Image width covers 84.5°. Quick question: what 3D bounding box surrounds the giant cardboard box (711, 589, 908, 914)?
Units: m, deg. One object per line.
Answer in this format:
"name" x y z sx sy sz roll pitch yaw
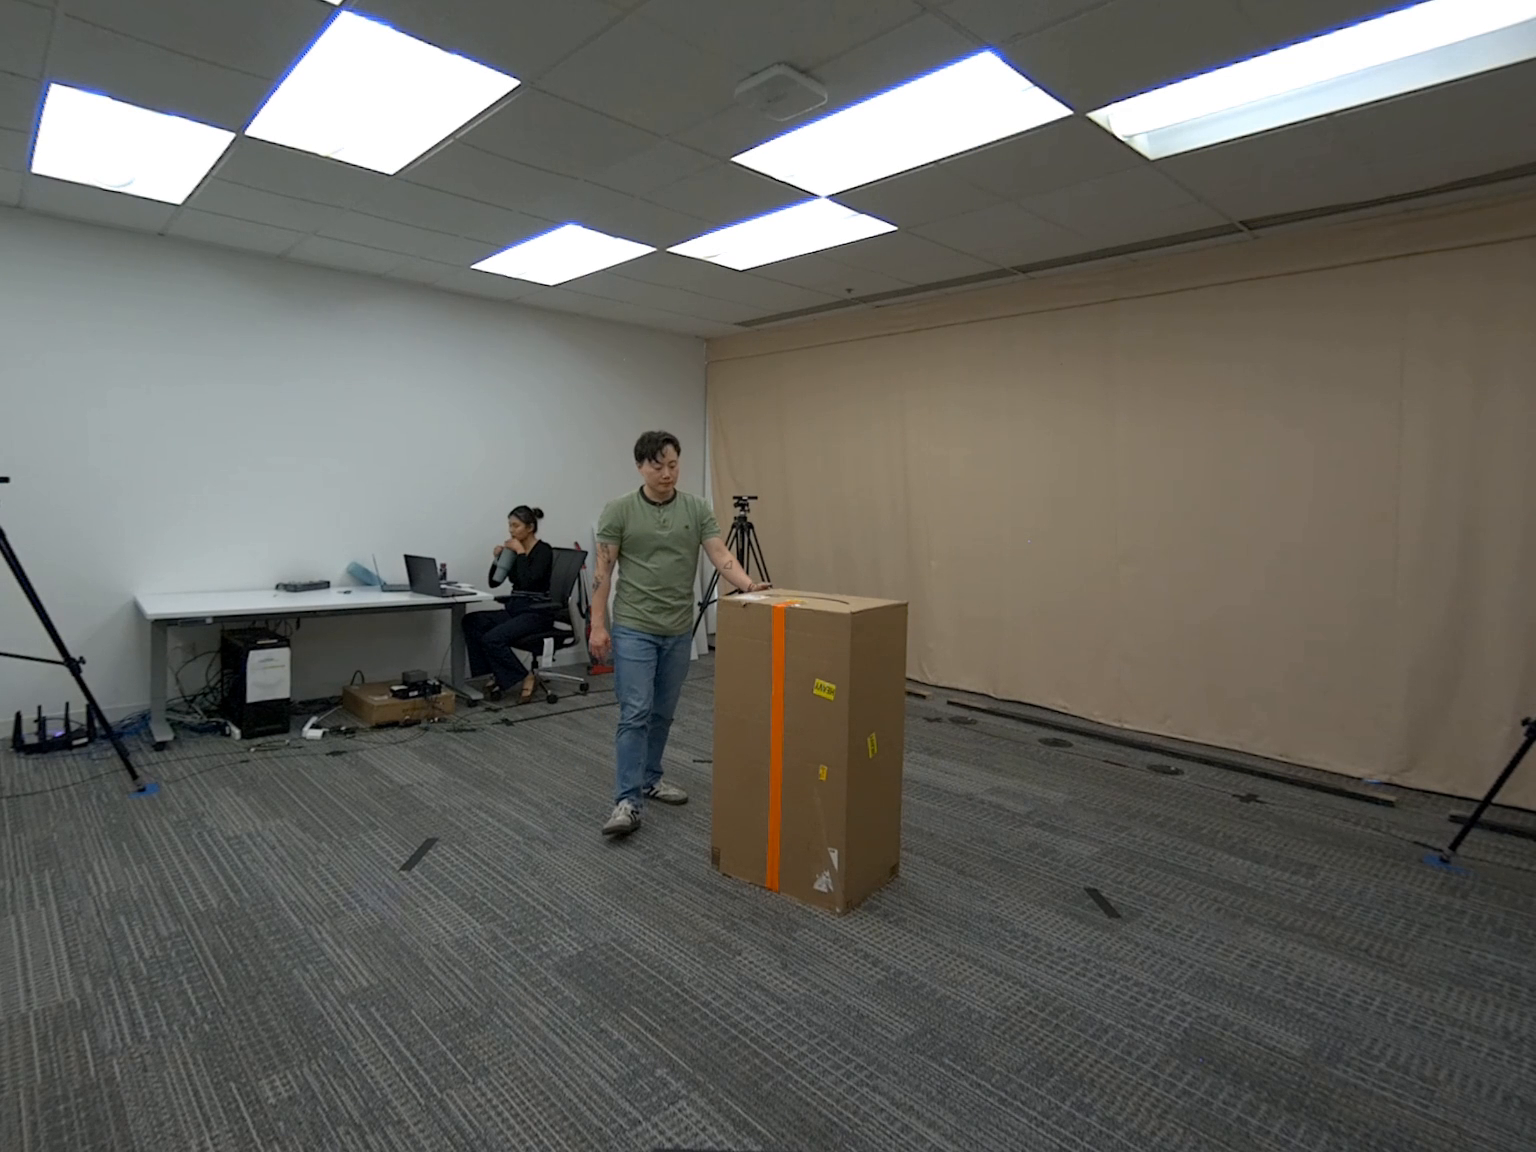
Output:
"giant cardboard box" 0.144 0.598 3.118 0.591 1.023 0.417 4 4 37
